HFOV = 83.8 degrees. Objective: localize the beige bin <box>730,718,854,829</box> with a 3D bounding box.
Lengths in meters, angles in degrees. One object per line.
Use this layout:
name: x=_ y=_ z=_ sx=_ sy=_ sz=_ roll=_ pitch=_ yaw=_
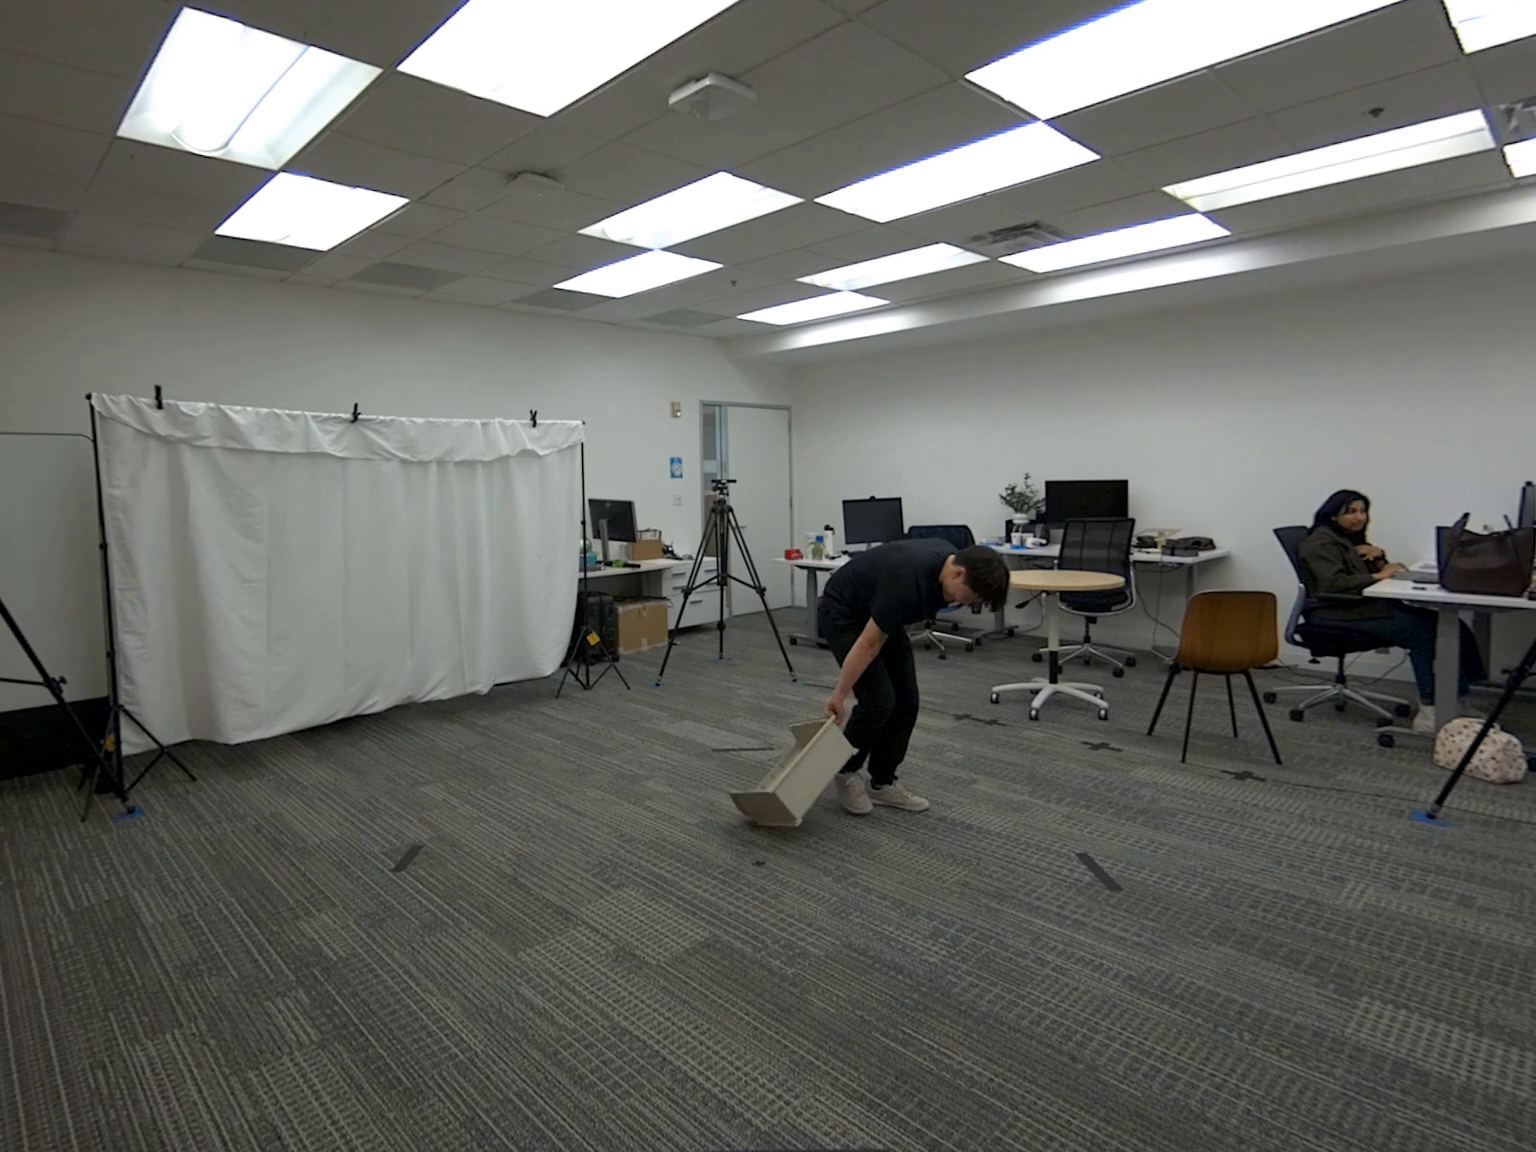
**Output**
beige bin: x=0.096 y=0.788 z=3.443 sx=0.421 sy=0.187 sz=0.382 roll=-43 pitch=10 yaw=-31
